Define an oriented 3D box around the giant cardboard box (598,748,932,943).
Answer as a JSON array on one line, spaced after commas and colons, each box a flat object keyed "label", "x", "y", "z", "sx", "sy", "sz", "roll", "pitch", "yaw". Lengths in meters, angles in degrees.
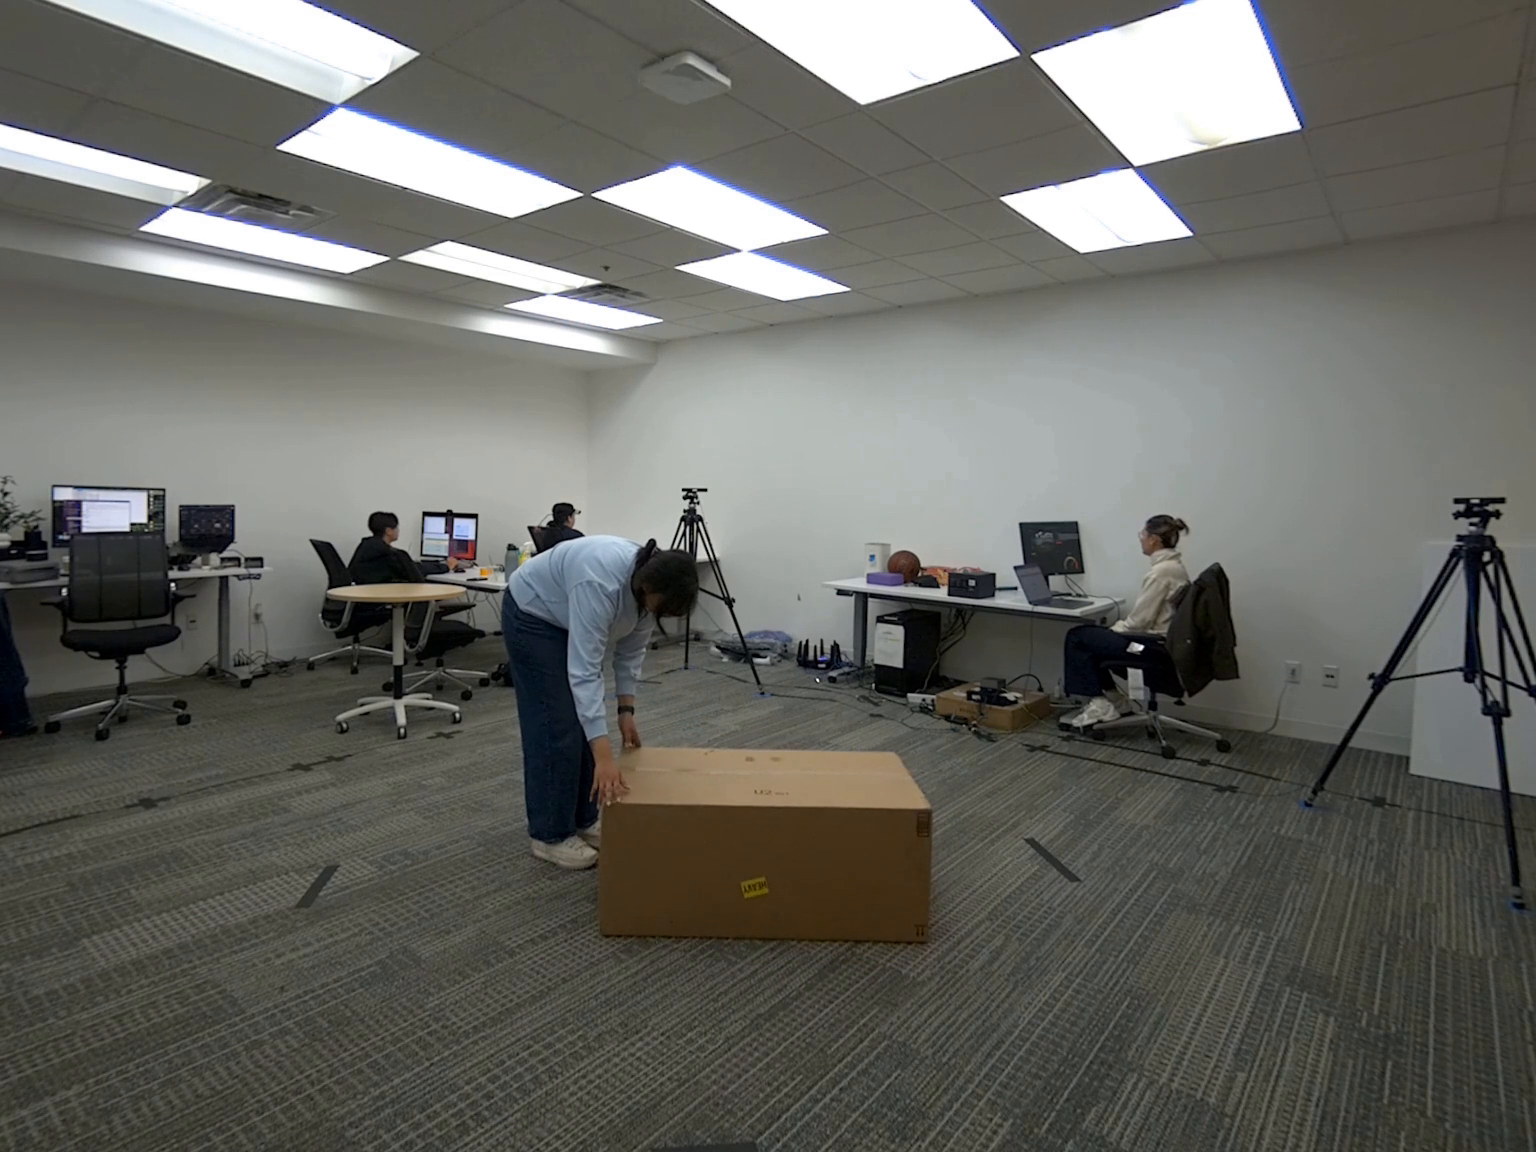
[{"label": "giant cardboard box", "x": -0.023, "y": 0.881, "z": 2.897, "sx": 1.025, "sy": 0.425, "sz": 0.580, "roll": 1, "pitch": 5, "yaw": -1}]
